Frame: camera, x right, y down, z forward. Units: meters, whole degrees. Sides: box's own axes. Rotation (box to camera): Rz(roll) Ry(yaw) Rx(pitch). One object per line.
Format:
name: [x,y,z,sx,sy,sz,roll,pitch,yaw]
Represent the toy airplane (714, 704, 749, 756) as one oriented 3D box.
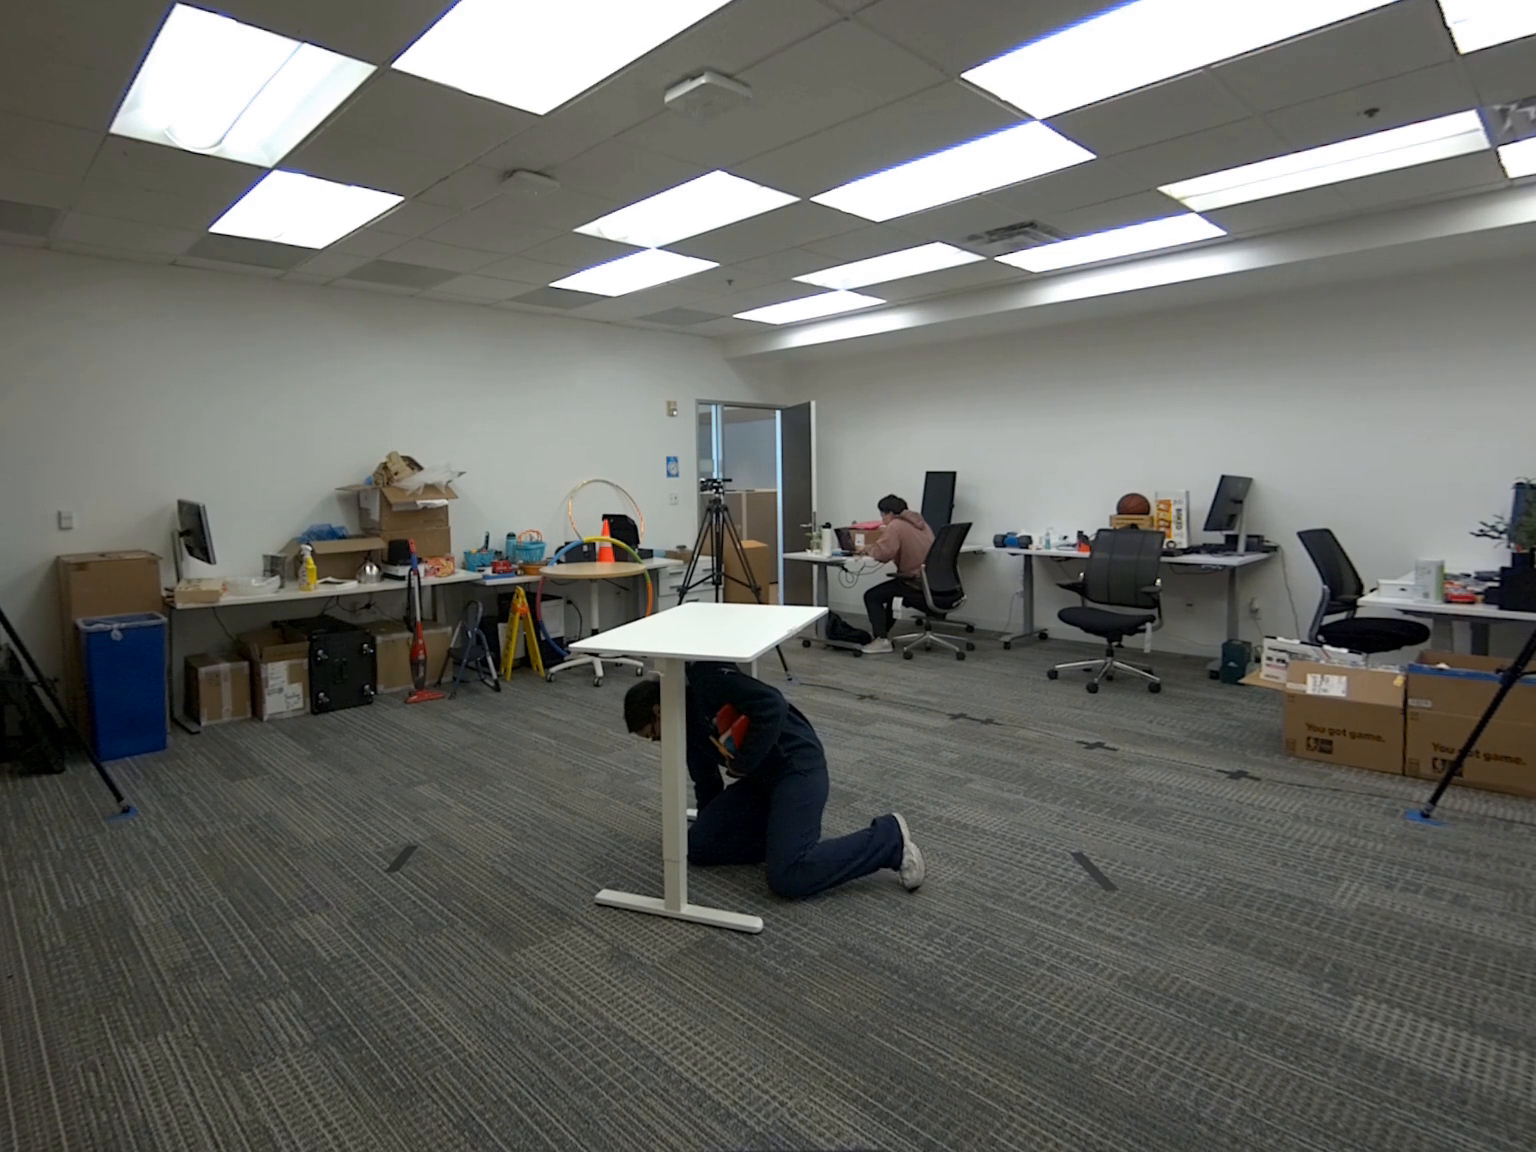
toy airplane: [-0.089,0.500,2.960,0.242,0.259,0.162,24,19,-47]
